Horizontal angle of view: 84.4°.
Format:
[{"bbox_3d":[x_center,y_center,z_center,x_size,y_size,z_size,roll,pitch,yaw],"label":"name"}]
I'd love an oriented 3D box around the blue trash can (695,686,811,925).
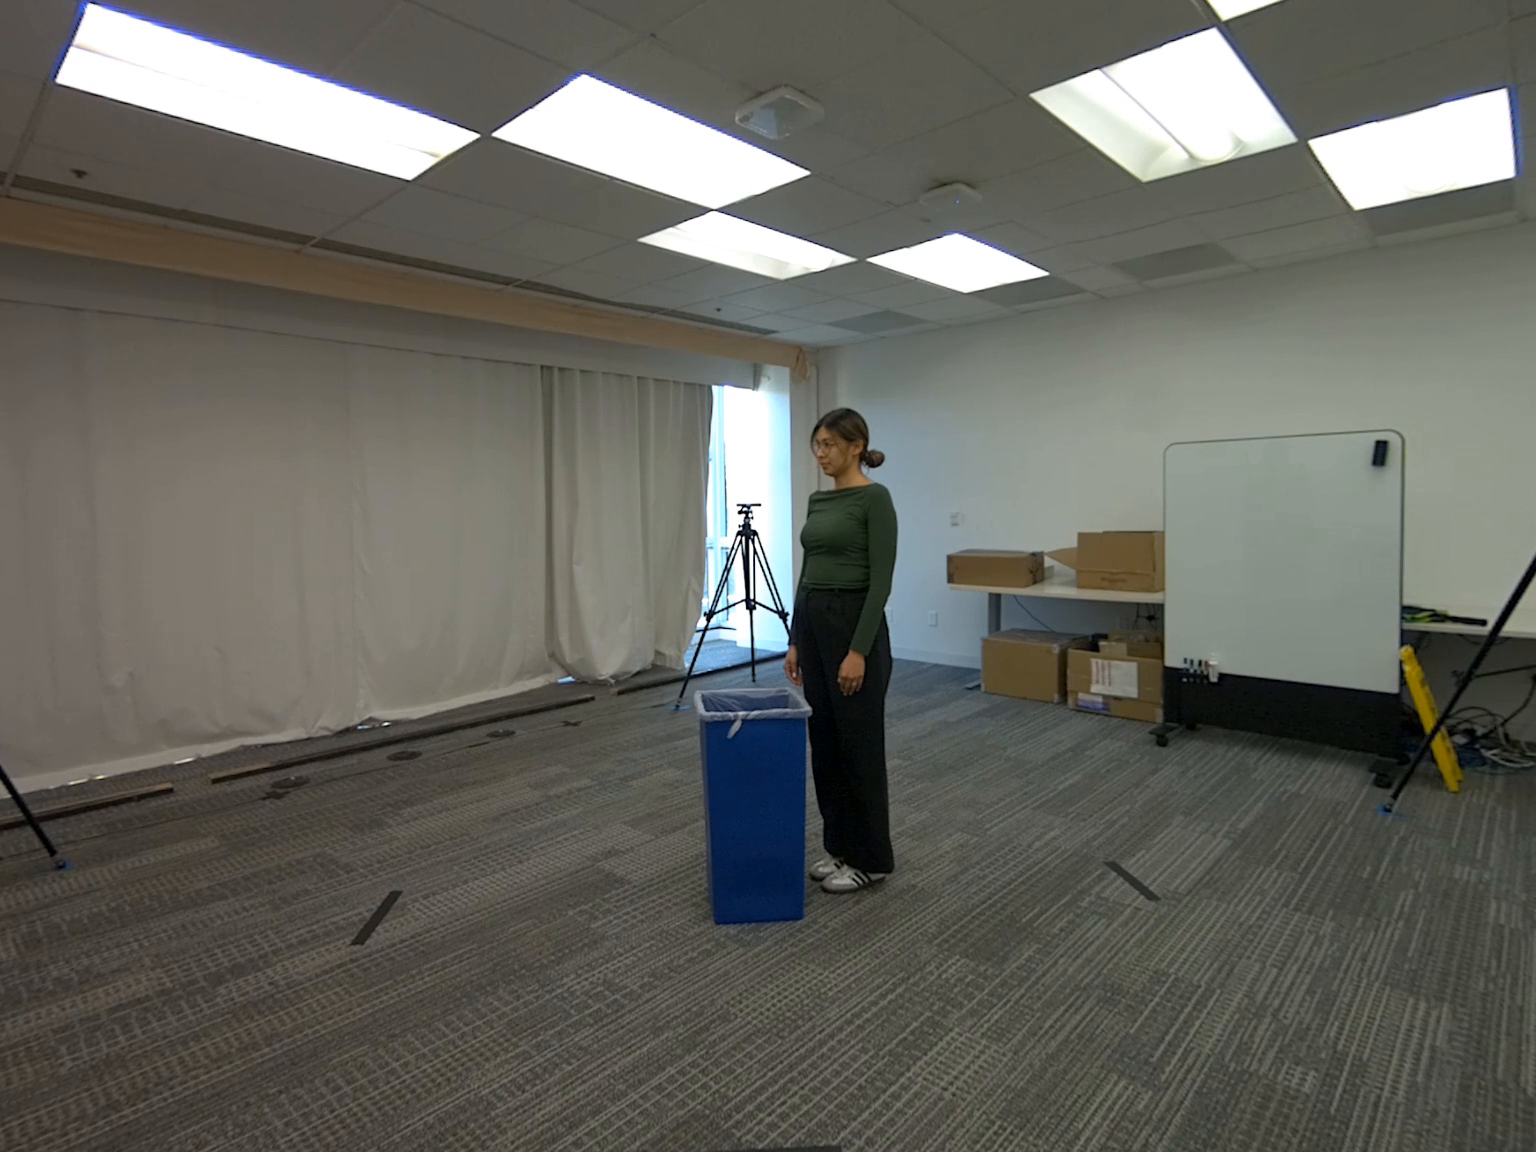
[{"bbox_3d":[-0.055,0.784,2.924,0.372,0.712,0.381,-1,3,-6],"label":"blue trash can"}]
